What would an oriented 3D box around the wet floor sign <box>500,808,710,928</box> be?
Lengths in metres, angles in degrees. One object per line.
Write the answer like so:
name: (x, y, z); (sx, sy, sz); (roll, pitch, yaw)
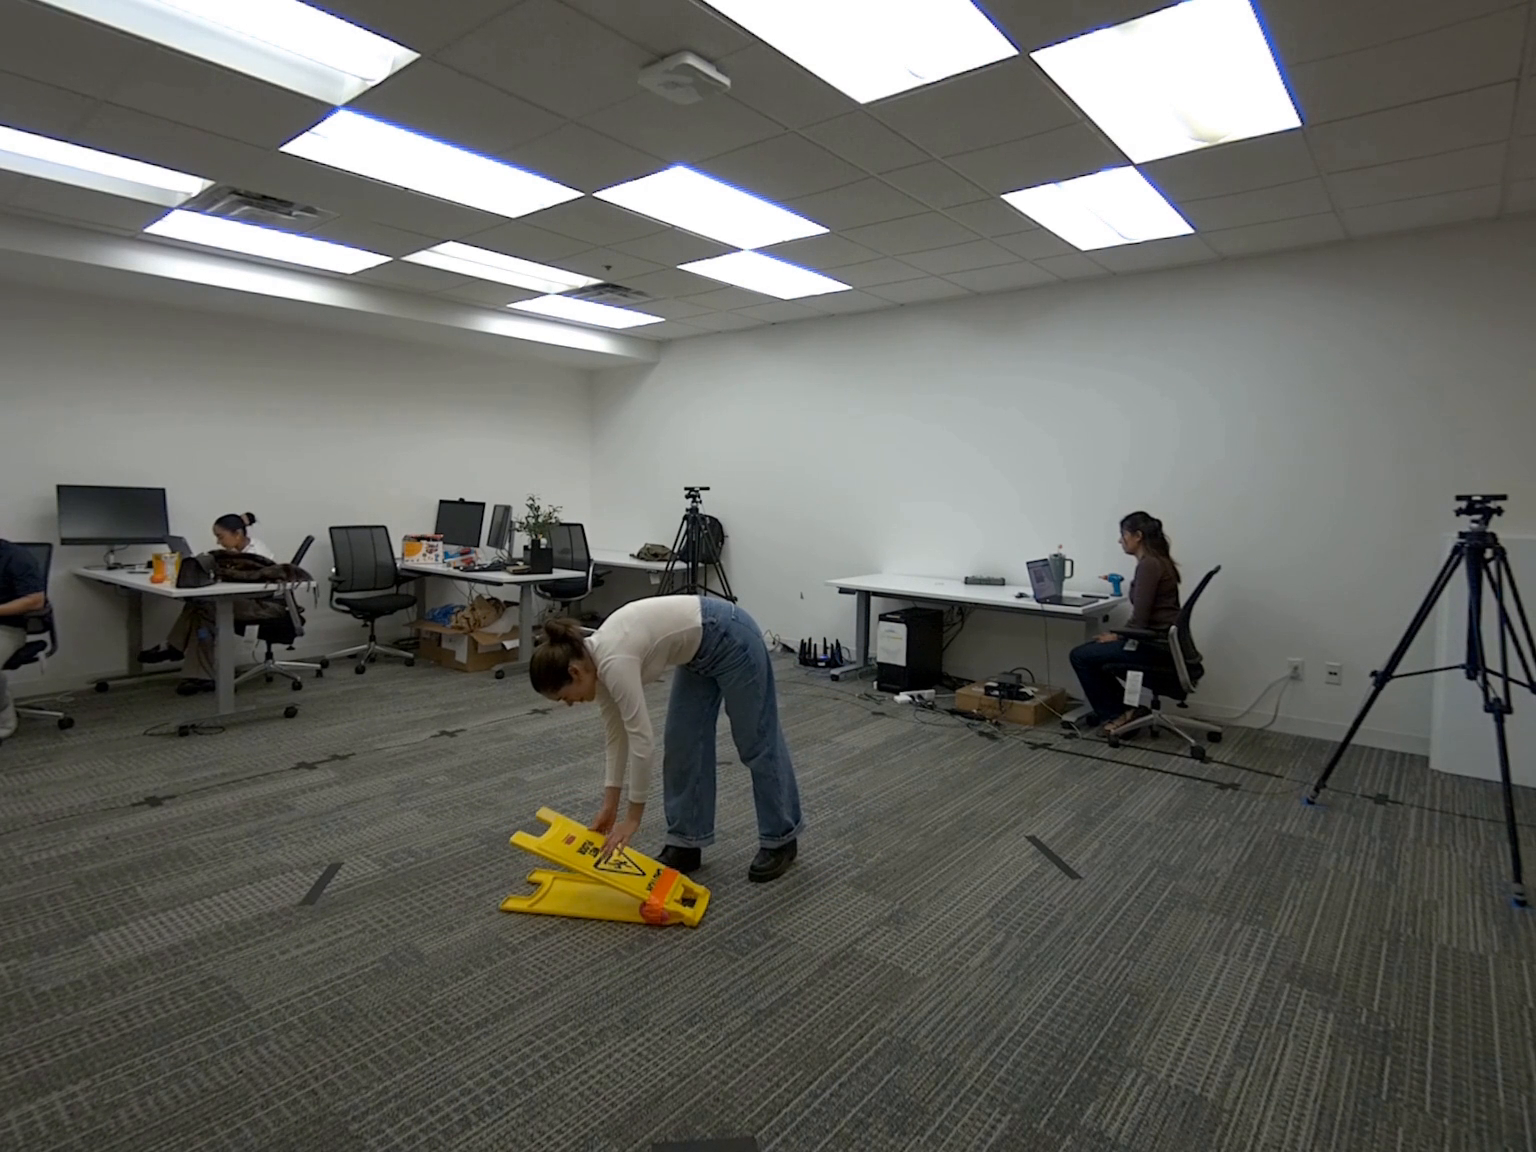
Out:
wet floor sign: (-0.532, 1.012, 2.822); (0.655, 0.288, 0.280); (10, 7, 11)
